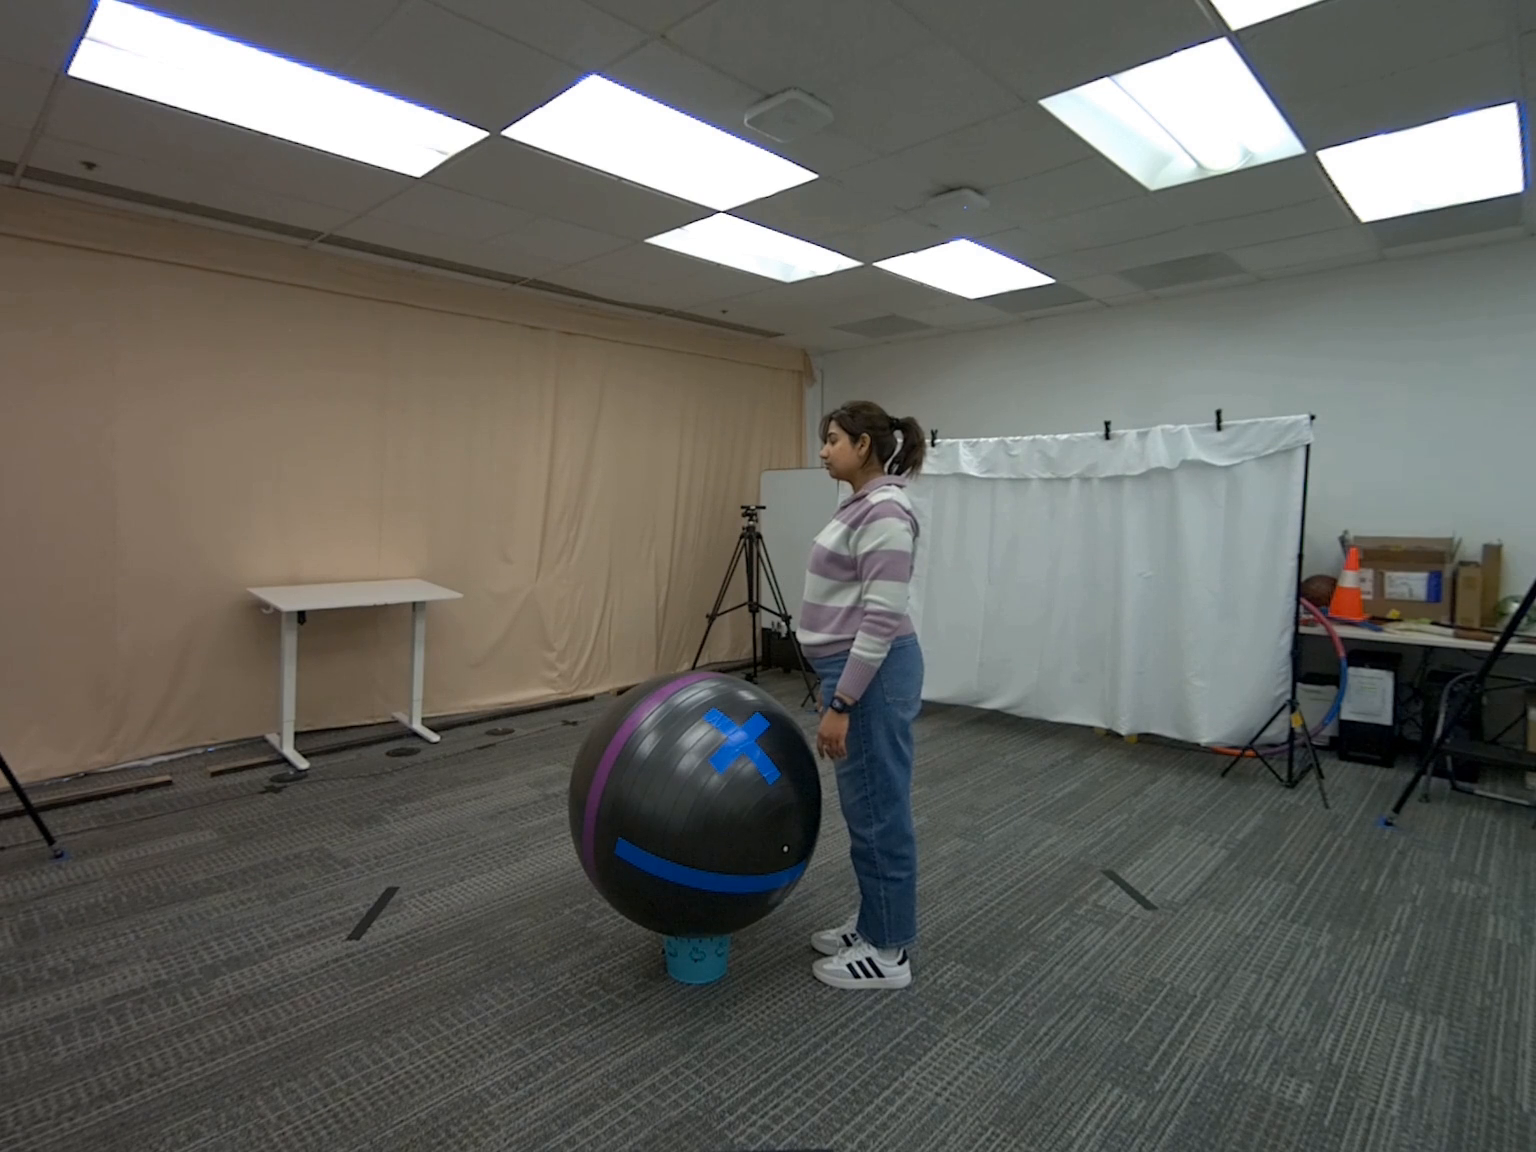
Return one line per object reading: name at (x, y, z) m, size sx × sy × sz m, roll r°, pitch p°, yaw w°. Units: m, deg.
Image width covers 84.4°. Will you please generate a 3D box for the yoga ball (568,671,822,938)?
yoga ball at (-0.216, 0.673, 2.524) m, size 0.757 × 0.756 × 0.761 m, roll 0°, pitch 4°, yaw -2°
